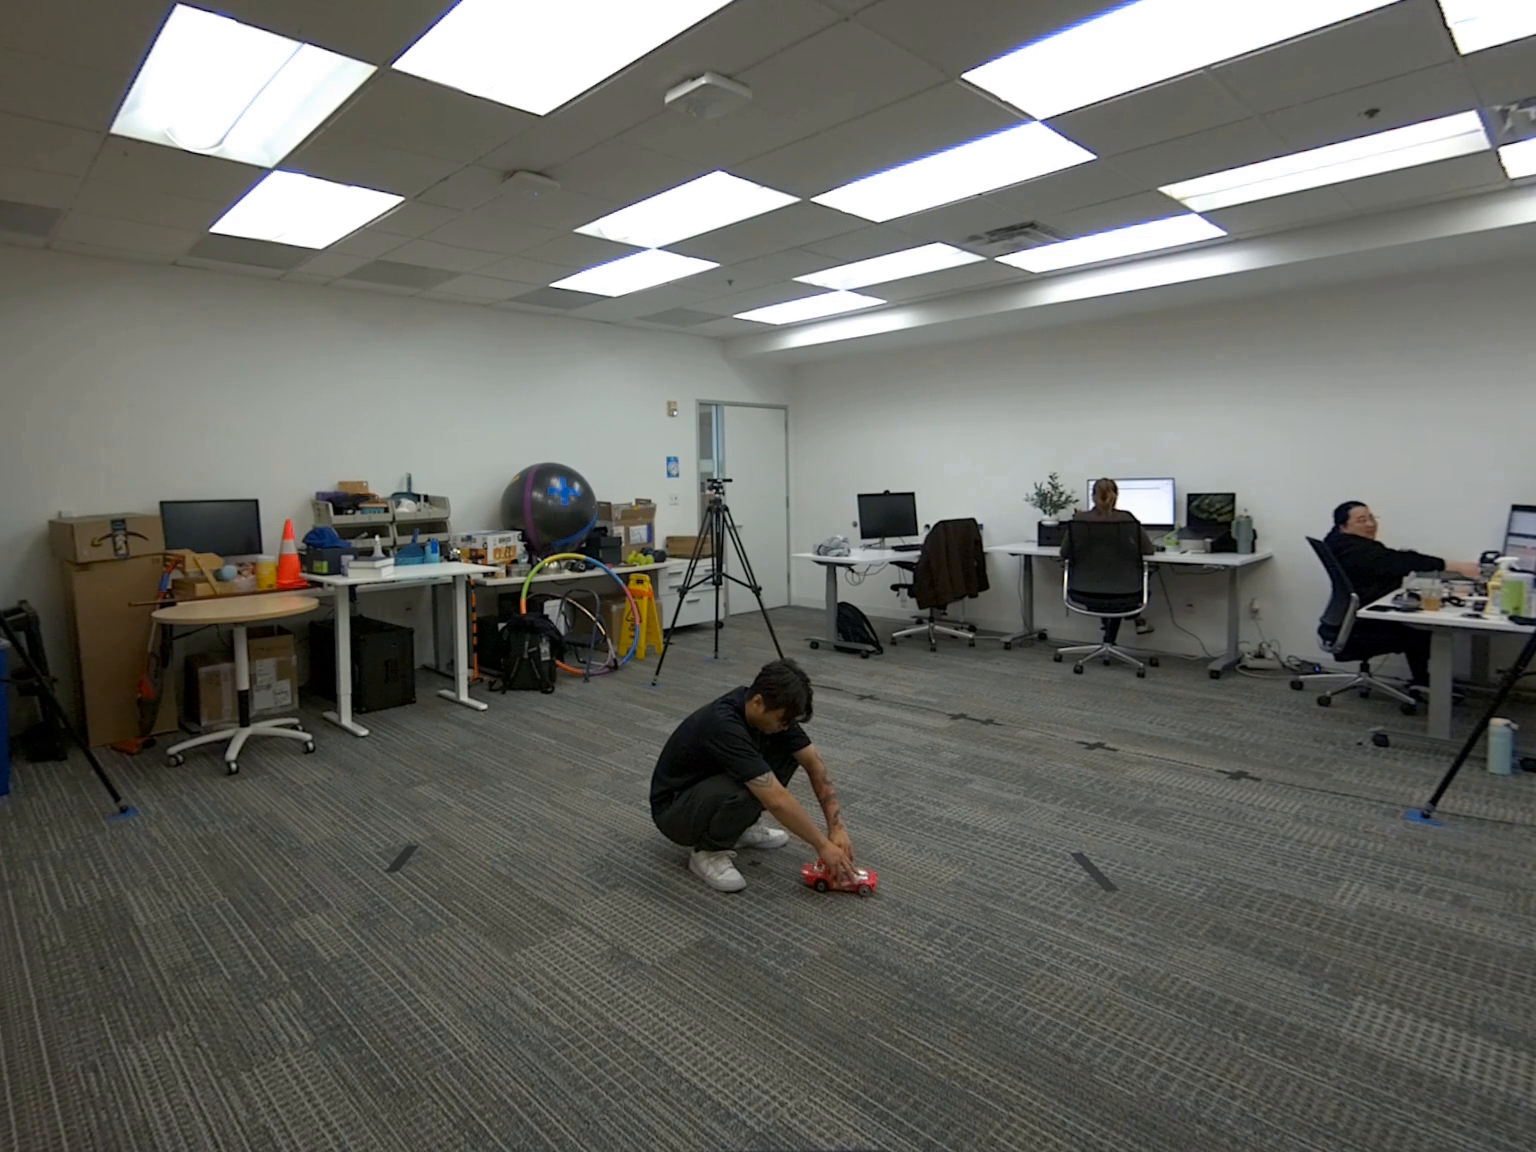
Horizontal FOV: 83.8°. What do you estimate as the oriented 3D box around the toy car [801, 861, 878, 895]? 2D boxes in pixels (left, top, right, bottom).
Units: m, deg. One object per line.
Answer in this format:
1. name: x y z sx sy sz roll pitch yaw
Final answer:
1. toy car: 0.238 1.025 2.913 0.258 0.083 0.129 11 8 12
